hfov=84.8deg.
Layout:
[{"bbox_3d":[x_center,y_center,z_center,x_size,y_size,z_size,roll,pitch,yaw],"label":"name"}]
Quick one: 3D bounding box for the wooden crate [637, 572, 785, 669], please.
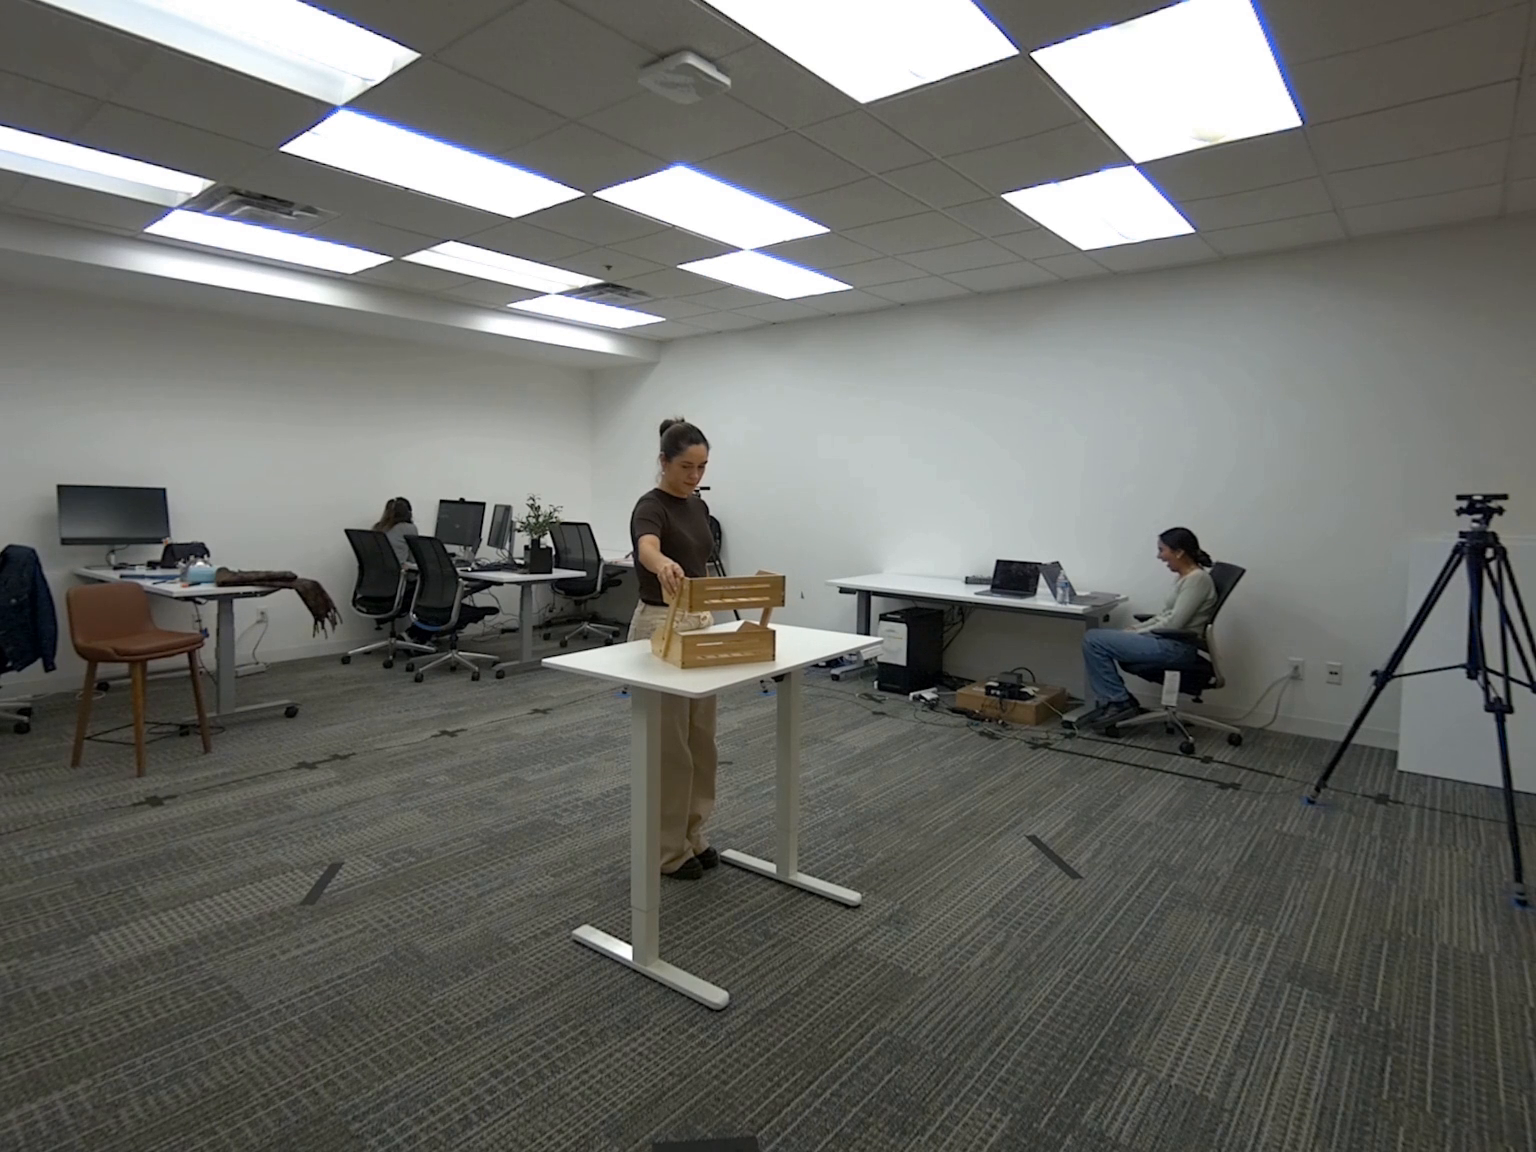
[{"bbox_3d":[-0.162,0.113,2.520,0.316,0.272,0.311,-2,6,-27],"label":"wooden crate"}]
